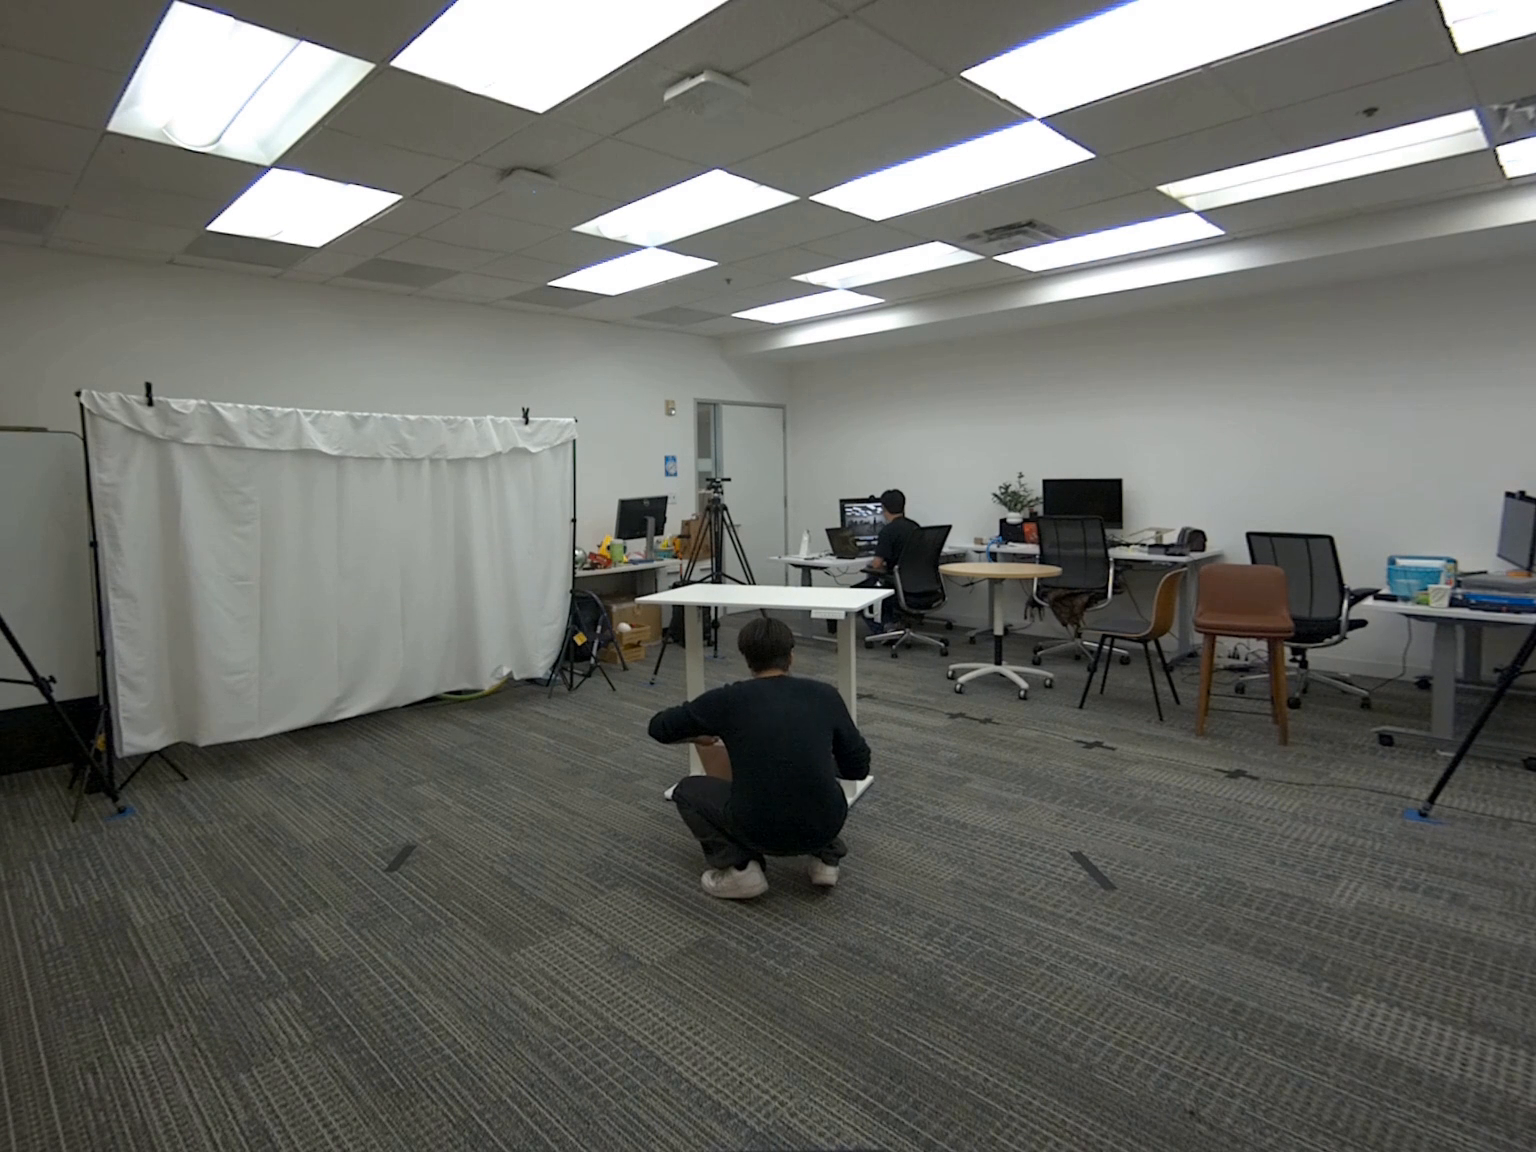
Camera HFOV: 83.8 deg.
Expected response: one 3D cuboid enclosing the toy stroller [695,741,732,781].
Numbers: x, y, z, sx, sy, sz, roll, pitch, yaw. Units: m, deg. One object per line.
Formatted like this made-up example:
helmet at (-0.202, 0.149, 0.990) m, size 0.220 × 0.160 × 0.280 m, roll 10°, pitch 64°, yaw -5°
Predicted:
toy stroller at (-0.151, 0.777, 3.503) m, size 0.288 × 0.525 × 0.340 m, roll 2°, pitch 22°, yaw 25°
